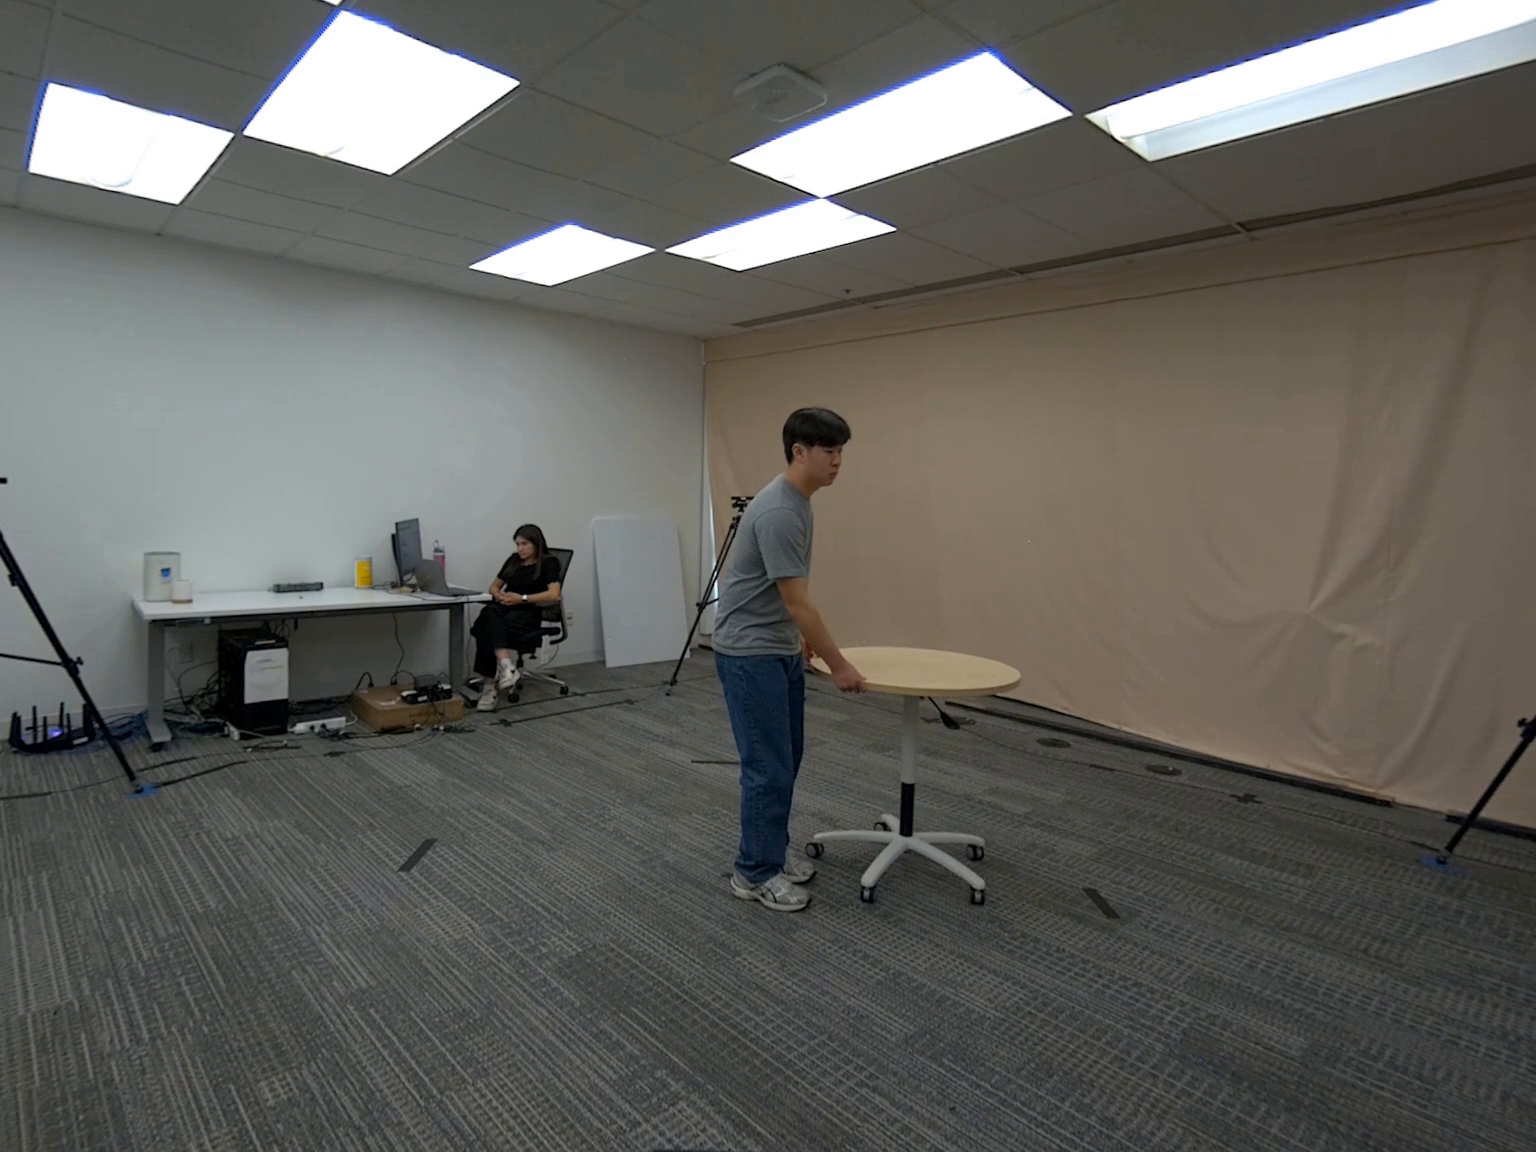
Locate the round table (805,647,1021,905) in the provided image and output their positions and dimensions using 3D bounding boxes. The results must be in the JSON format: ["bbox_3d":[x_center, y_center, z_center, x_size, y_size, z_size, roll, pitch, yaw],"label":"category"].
[{"bbox_3d":[0.518,0.728,3.153,0.763,0.792,0.767,2,4,-2],"label":"round table"}]
